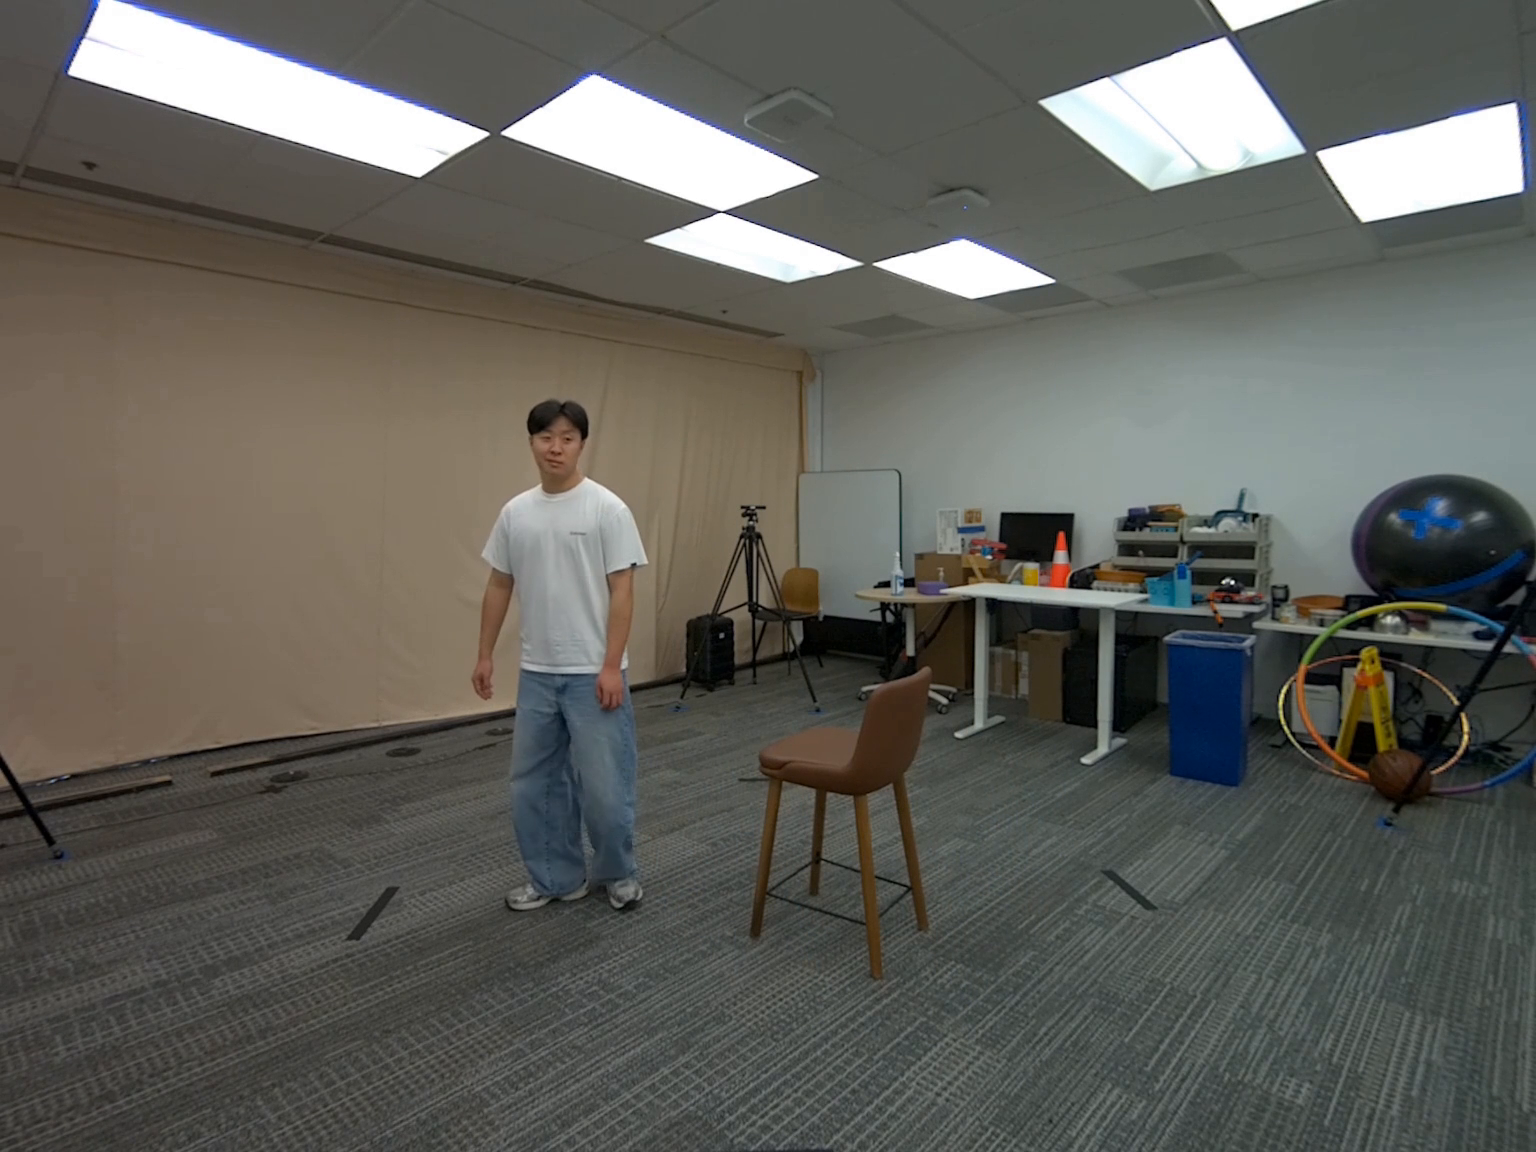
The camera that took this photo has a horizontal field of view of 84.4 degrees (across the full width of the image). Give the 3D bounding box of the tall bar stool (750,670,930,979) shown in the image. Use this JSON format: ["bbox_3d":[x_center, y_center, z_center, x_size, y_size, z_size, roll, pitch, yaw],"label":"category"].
[{"bbox_3d":[0.246,0.729,2.718,0.483,0.887,0.443,5,6,35],"label":"tall bar stool"}]
